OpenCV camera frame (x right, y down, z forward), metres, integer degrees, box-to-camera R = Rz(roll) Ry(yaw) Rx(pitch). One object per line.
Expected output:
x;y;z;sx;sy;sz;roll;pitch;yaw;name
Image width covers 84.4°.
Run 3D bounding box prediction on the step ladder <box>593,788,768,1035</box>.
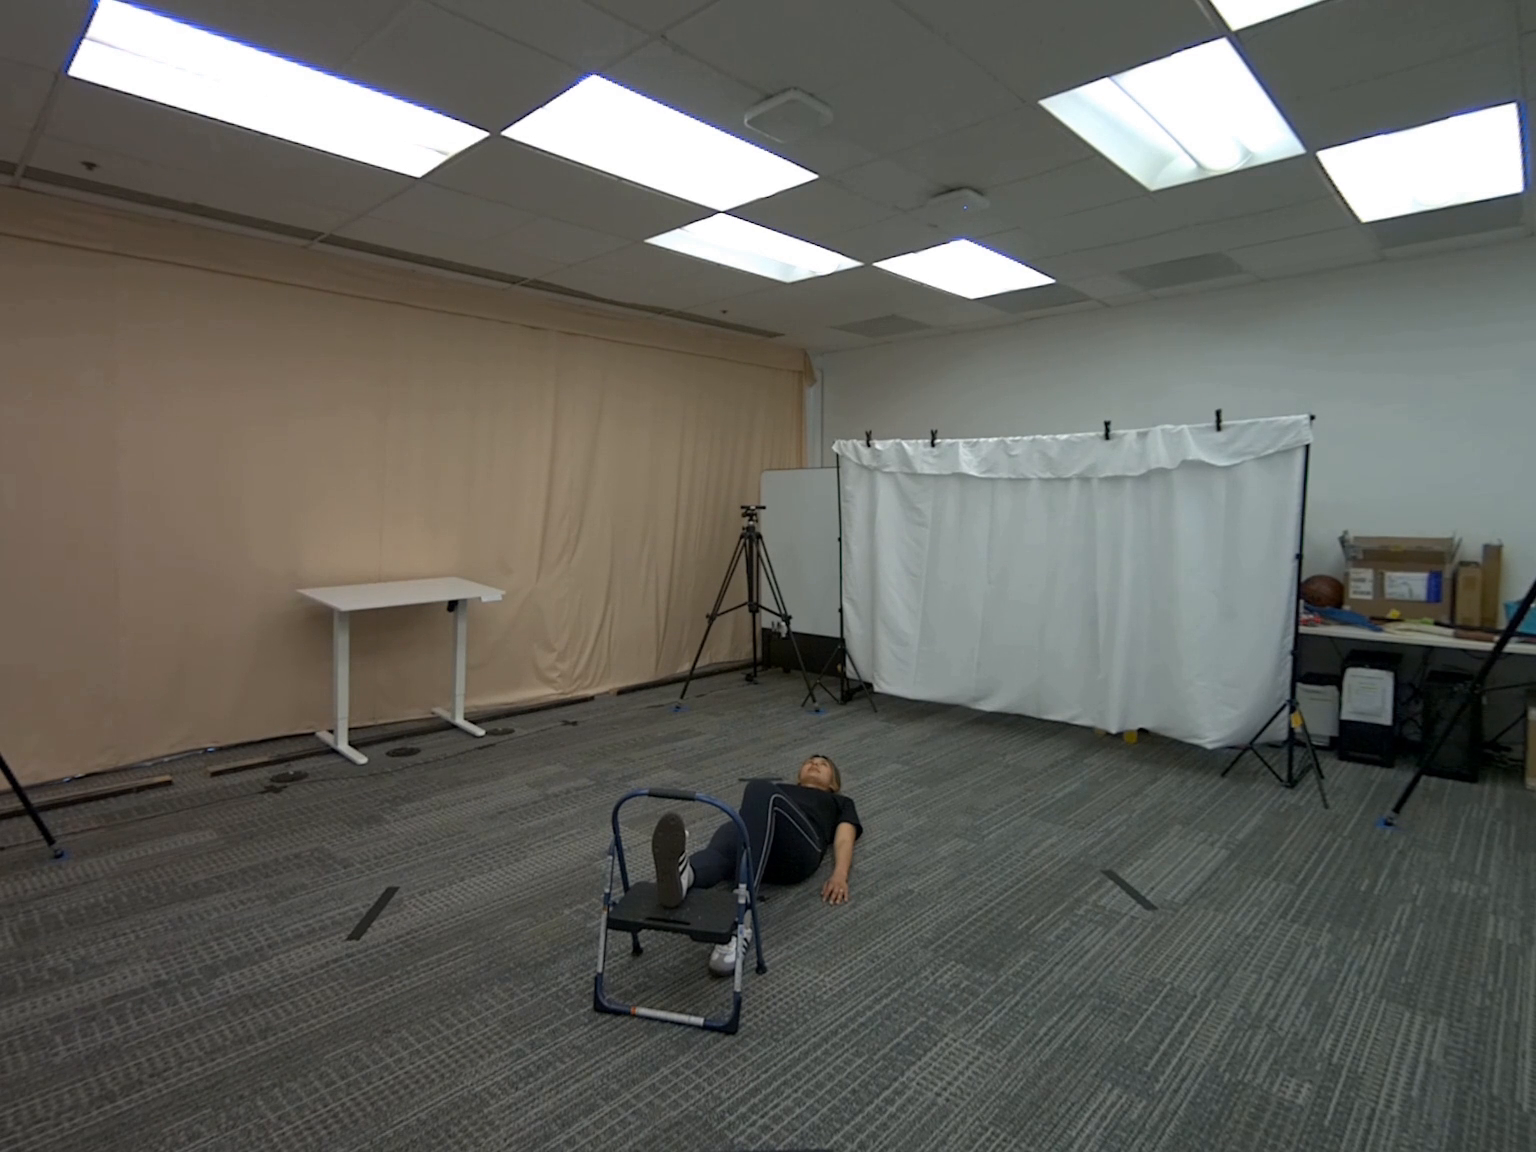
-0.252;0.893;2.411;0.437;0.605;0.344;1;3;14;step ladder
